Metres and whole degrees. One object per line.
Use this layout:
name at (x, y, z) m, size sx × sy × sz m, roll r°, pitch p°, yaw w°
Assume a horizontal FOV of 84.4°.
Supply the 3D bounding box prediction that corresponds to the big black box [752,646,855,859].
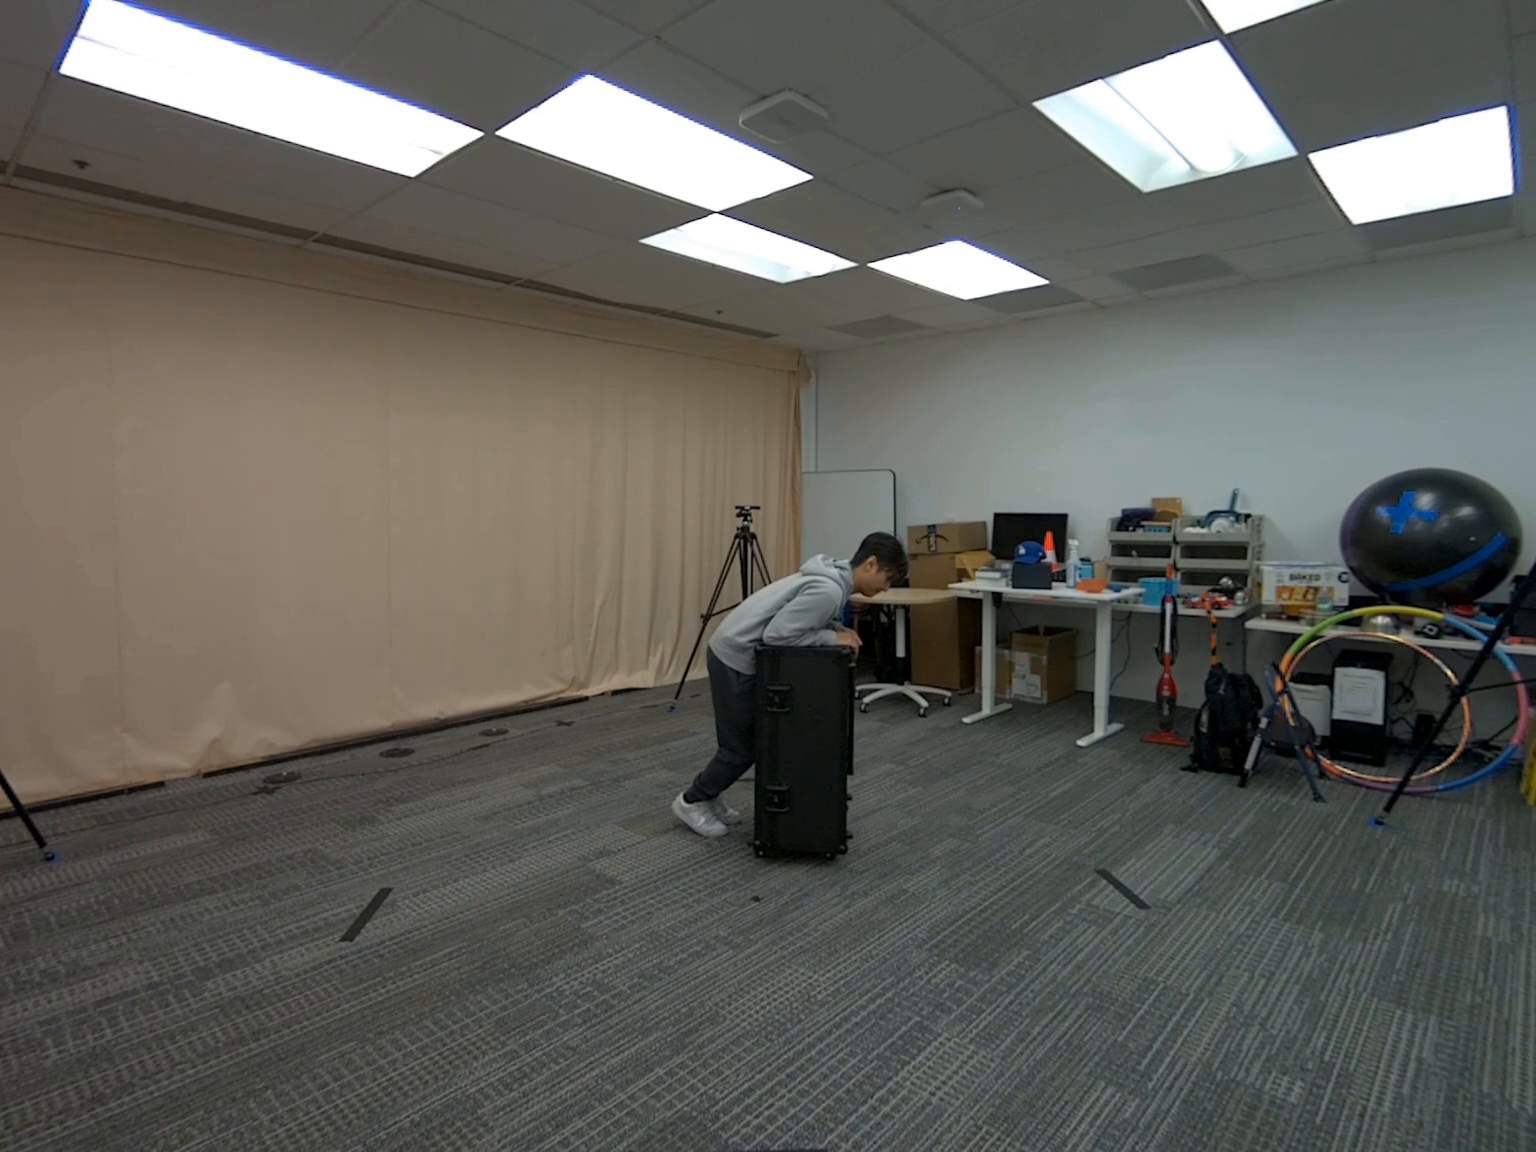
big black box at (0.170, 0.685, 3.437) m, size 0.400 × 0.859 × 0.518 m, roll 1°, pitch 4°, yaw 7°
